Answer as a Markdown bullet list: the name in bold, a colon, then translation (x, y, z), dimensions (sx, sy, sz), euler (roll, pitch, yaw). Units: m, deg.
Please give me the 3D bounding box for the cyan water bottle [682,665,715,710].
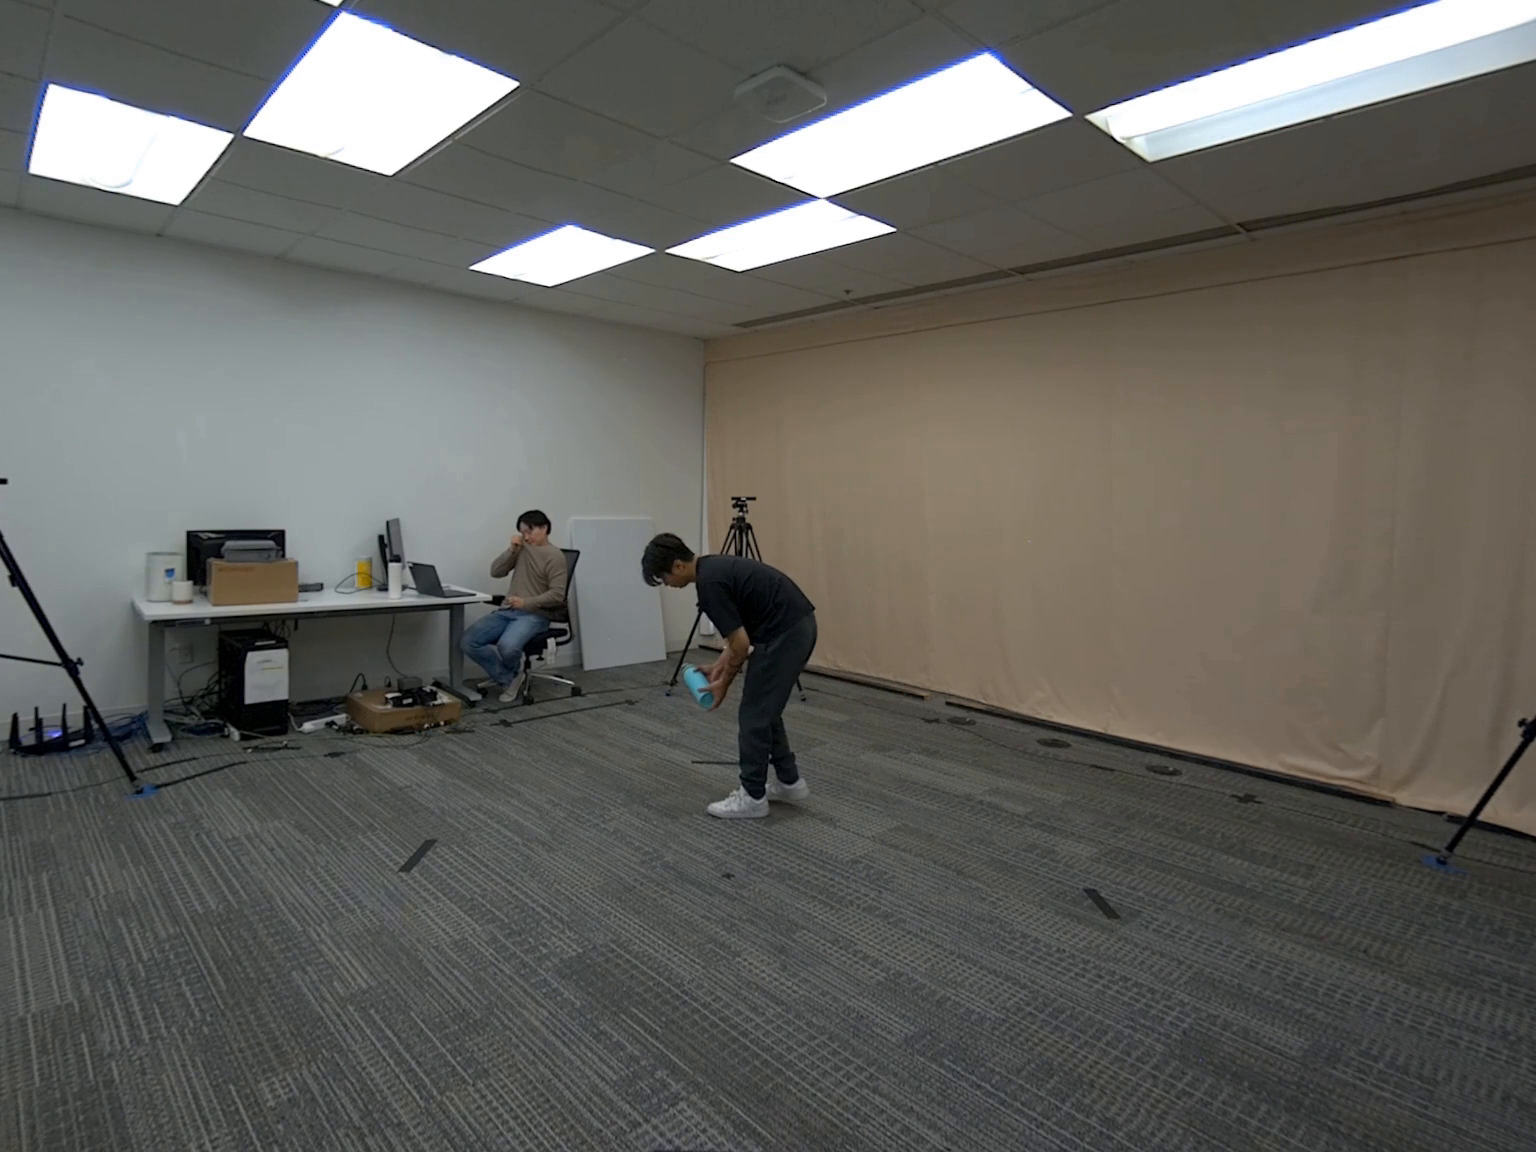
- **cyan water bottle**: translation (-0.323, 0.483, 3.818), dimensions (0.091, 0.091, 0.292), euler (-1, 24, -25)
